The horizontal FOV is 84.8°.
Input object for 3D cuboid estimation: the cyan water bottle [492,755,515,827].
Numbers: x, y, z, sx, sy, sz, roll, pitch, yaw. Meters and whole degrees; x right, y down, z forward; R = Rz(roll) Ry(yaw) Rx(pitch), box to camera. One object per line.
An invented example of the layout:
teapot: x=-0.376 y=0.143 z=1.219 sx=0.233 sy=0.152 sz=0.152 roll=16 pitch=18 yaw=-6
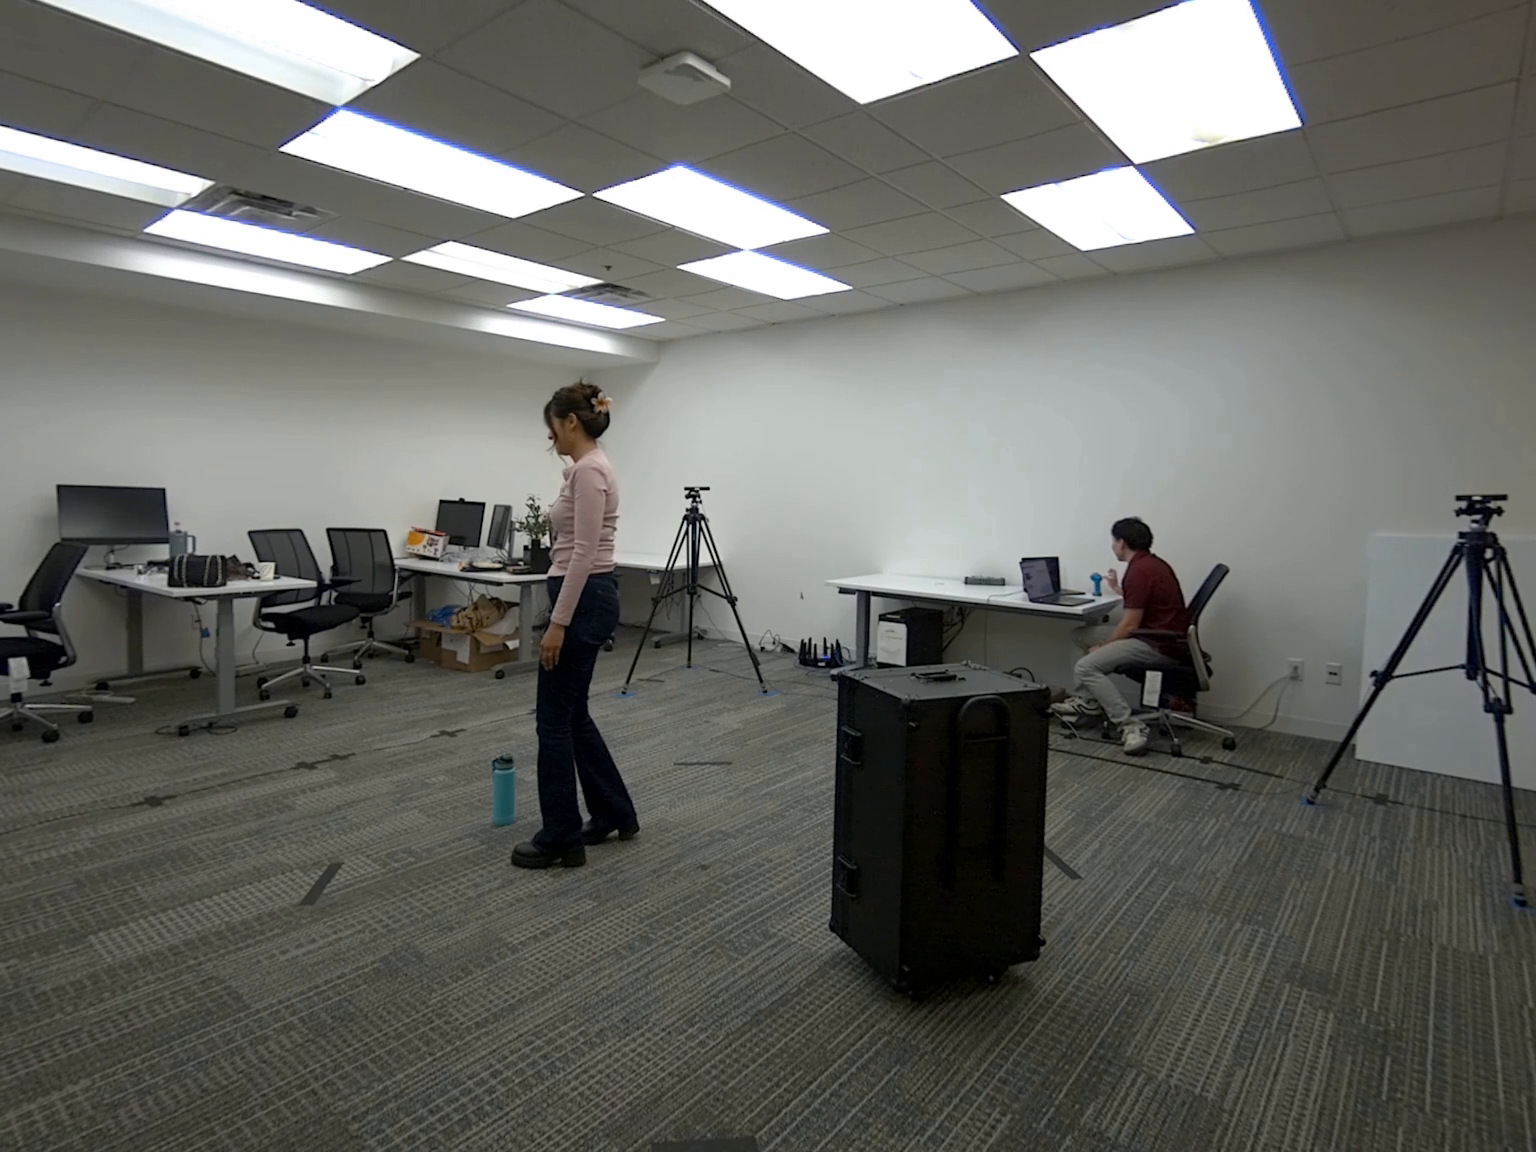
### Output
cyan water bottle: x=-1.111 y=0.876 z=3.514 sx=0.092 sy=0.283 sz=0.093 roll=0 pitch=3 yaw=-2
